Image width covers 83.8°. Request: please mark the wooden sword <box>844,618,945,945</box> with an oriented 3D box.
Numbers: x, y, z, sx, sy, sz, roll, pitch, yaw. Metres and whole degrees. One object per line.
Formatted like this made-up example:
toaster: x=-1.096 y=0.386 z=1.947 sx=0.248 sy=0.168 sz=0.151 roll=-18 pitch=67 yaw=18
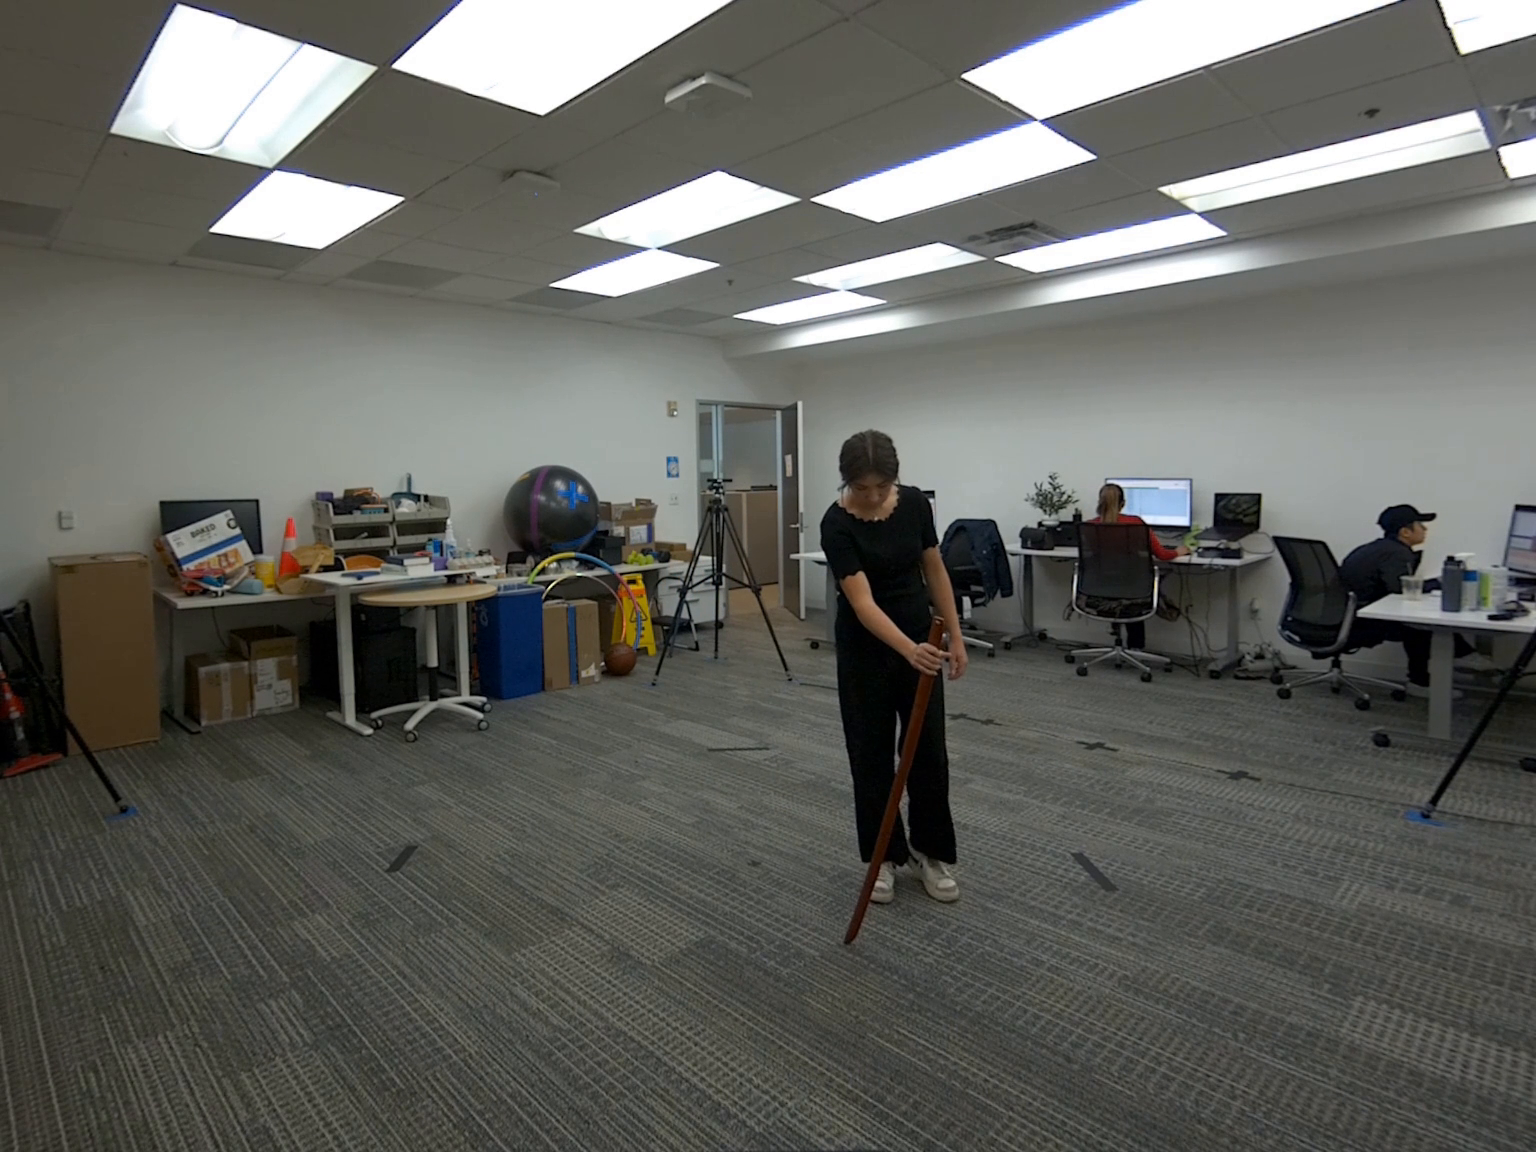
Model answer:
wooden sword: x=0.373 y=0.630 z=2.491 sx=0.050 sy=1.019 sz=0.025 roll=10 pitch=9 yaw=-27
